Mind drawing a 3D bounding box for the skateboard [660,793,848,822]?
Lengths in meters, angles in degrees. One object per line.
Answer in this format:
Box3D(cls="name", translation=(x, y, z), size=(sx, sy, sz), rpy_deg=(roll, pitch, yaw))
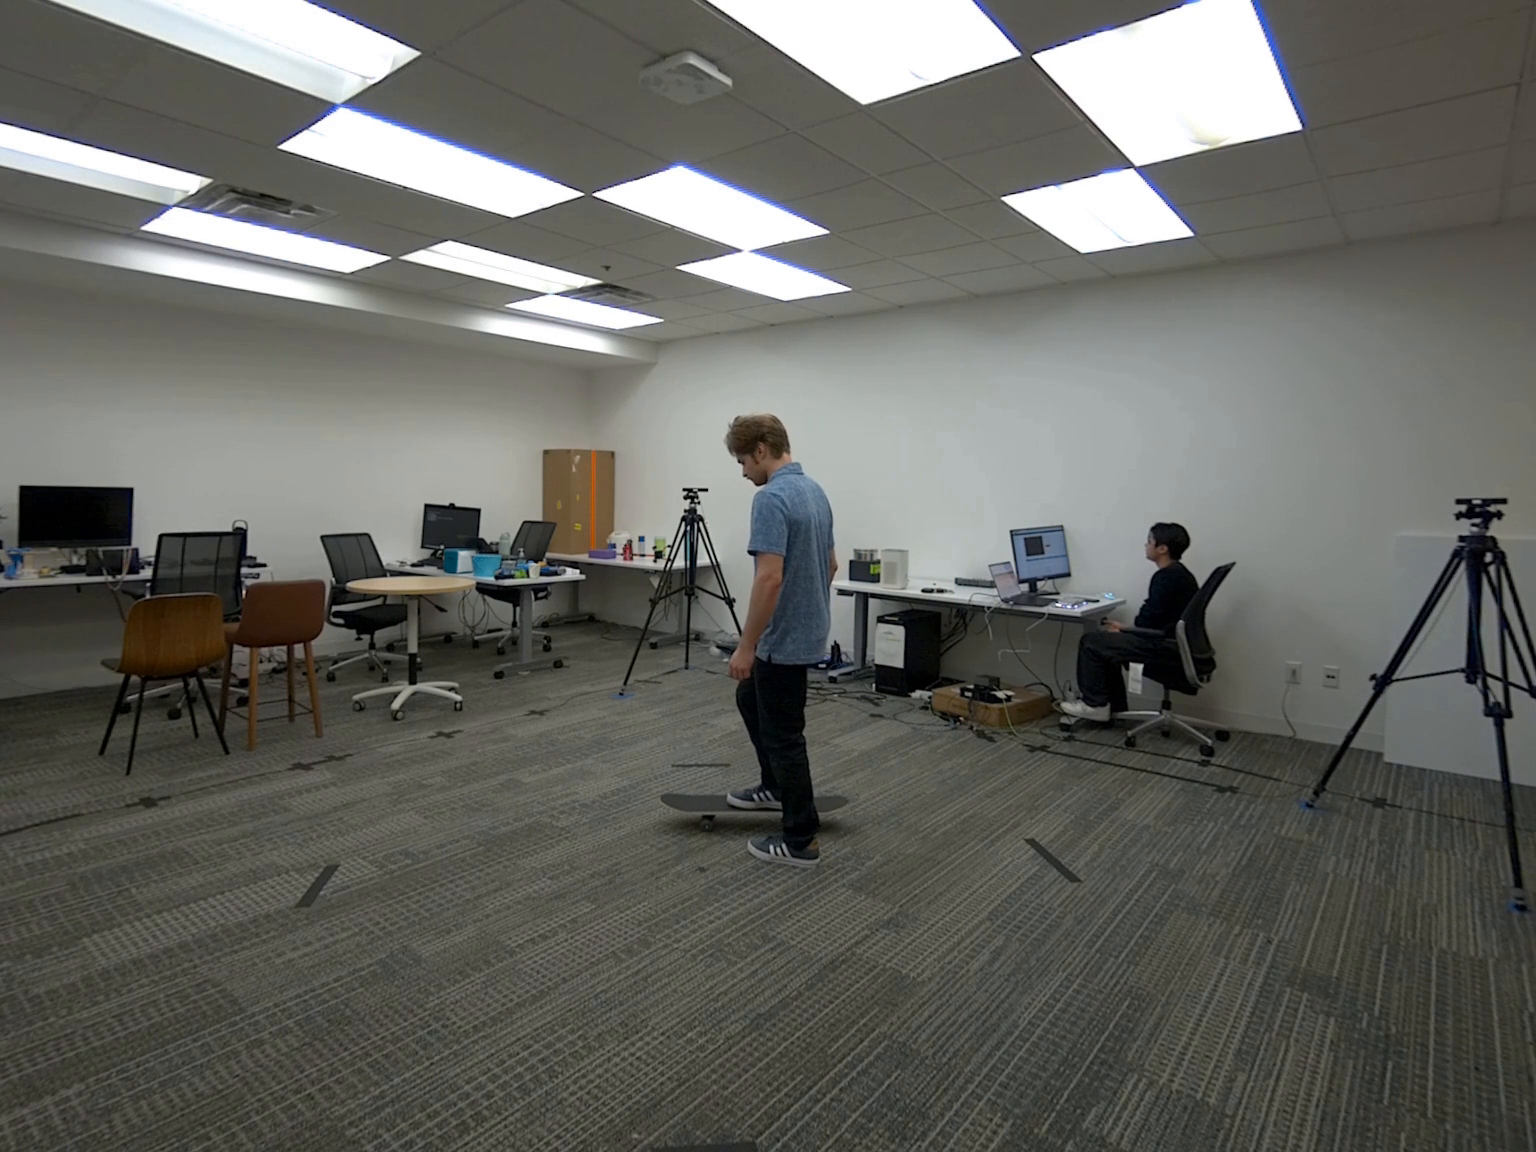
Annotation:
Box3D(cls="skateboard", translation=(-0.065, 0.972, 3.533), size=(0.784, 0.110, 0.195), rpy_deg=(1, 6, -1))
